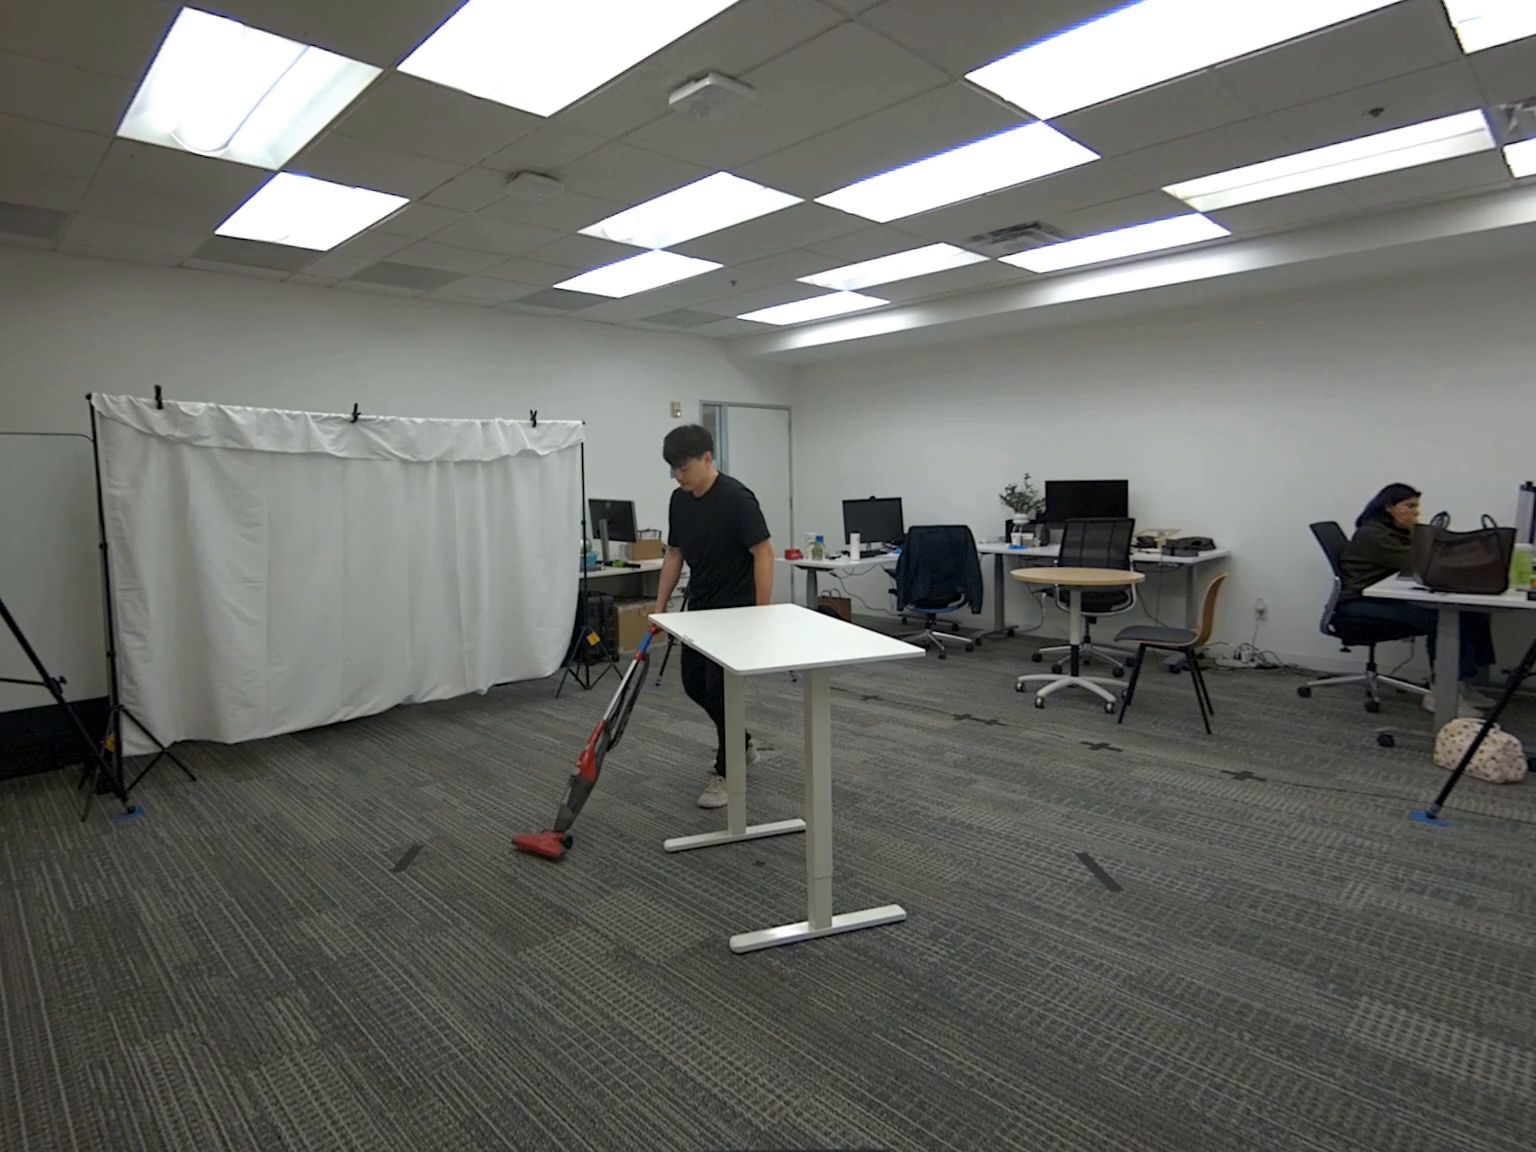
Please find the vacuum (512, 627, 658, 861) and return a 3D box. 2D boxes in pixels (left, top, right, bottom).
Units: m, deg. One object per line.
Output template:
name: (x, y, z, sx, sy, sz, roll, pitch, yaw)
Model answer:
vacuum: (-0.653, 0.629, 3.532, 0.259, 1.060, 0.139, 4, -39, 30)
